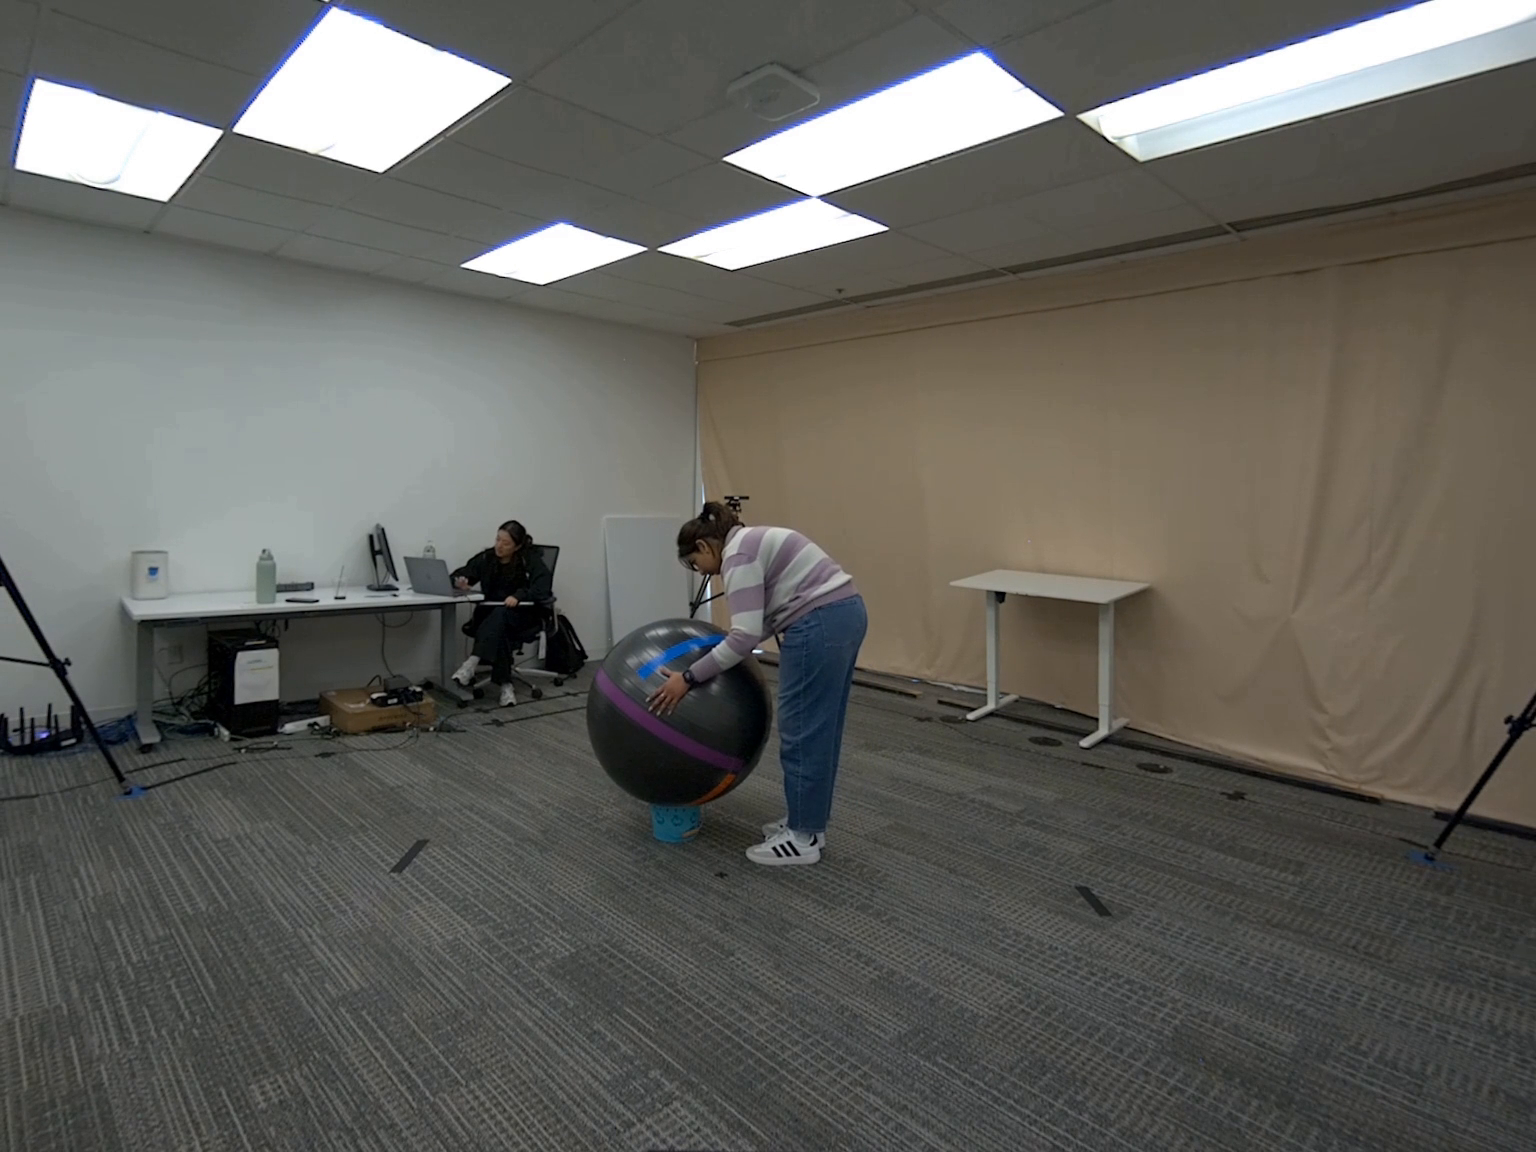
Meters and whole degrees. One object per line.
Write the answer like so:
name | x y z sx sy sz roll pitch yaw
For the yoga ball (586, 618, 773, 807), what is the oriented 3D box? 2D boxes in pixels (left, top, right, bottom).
yoga ball | -0.369 0.561 3.468 0.757 0.756 0.761 1 4 -1
